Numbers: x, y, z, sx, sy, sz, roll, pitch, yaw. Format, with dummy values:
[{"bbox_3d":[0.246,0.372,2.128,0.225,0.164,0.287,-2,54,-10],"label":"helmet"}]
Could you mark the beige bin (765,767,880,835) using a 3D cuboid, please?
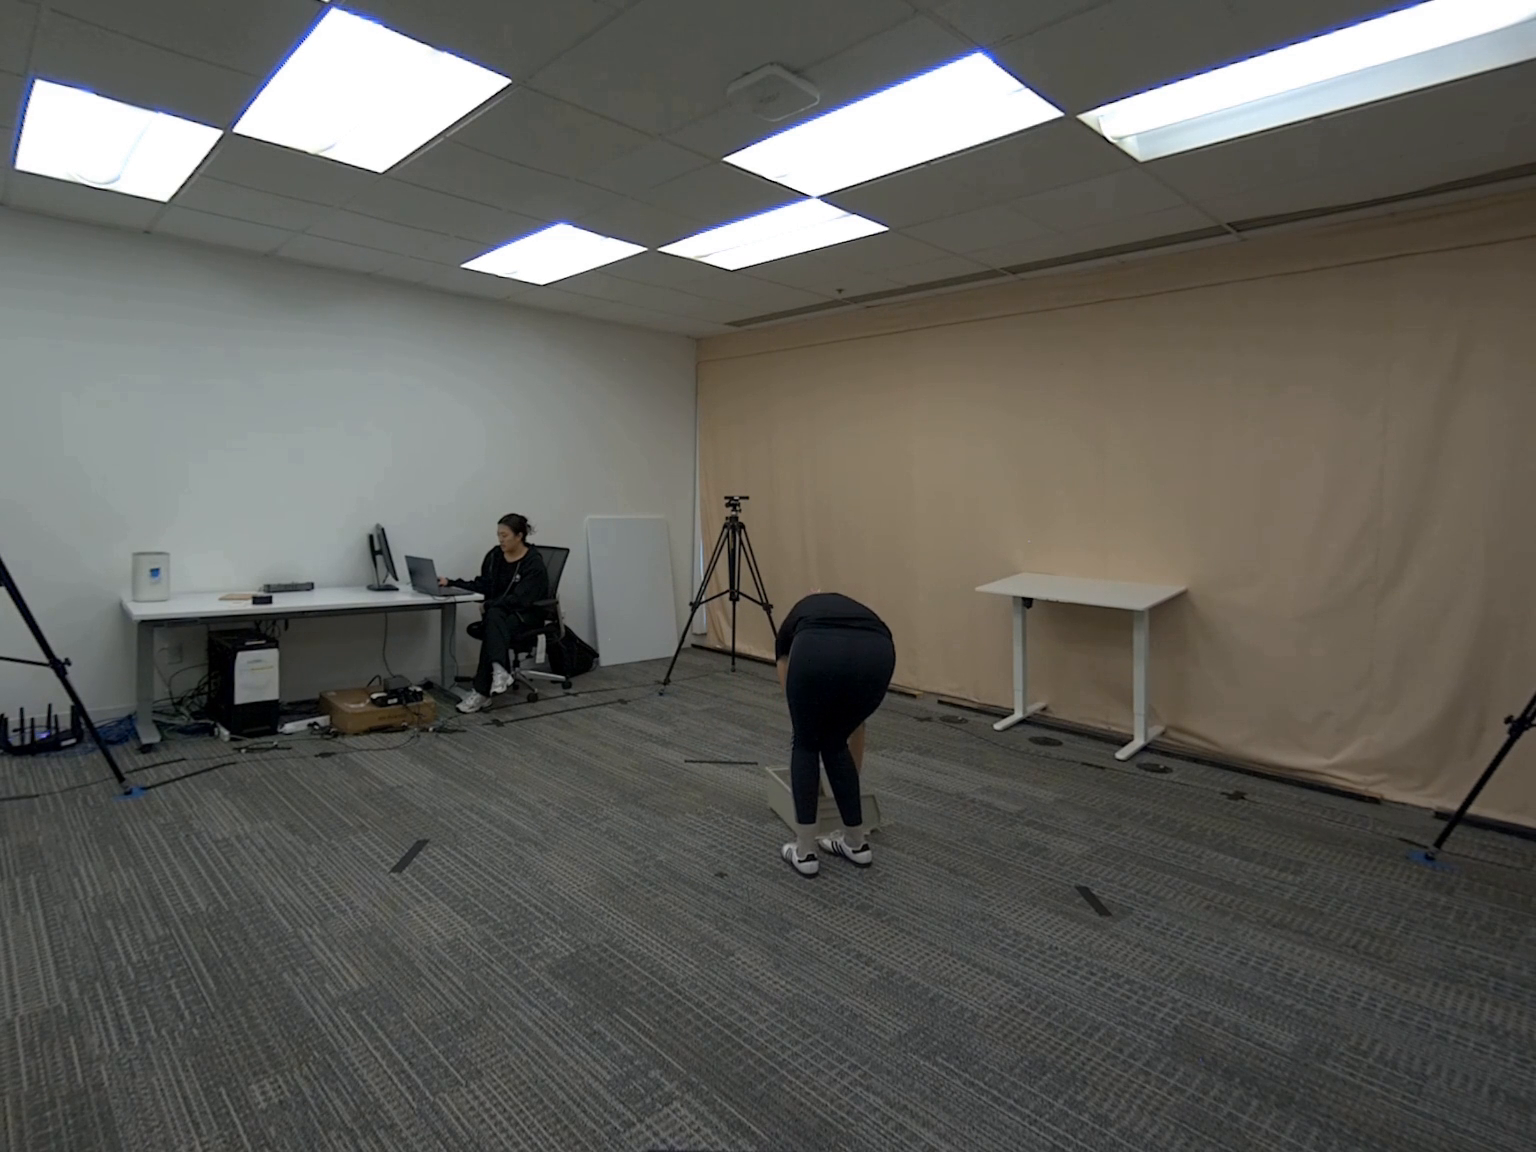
[{"bbox_3d":[0.228,0.975,3.676,0.372,0.188,0.430,-2,6,-19],"label":"beige bin"}]
